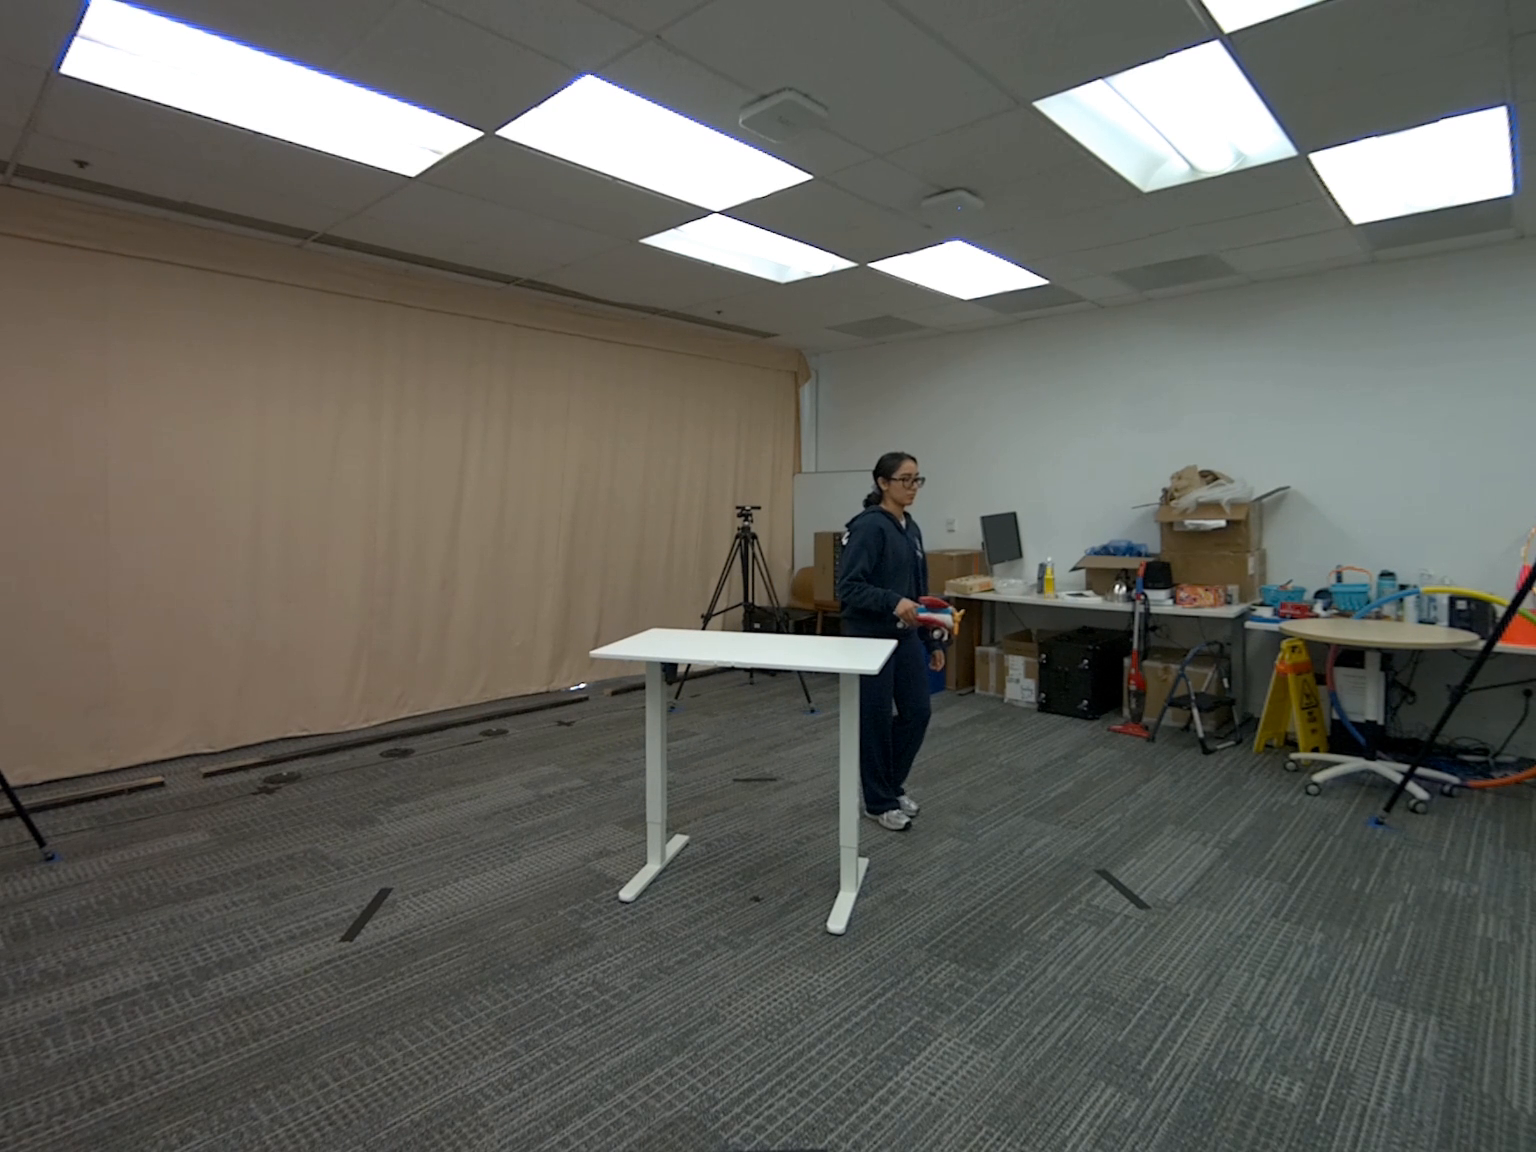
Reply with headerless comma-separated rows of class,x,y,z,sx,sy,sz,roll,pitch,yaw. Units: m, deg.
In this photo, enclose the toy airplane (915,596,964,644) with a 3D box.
toy airplane,0.632,0.165,3.344,0.264,0.156,0.246,21,-6,13
